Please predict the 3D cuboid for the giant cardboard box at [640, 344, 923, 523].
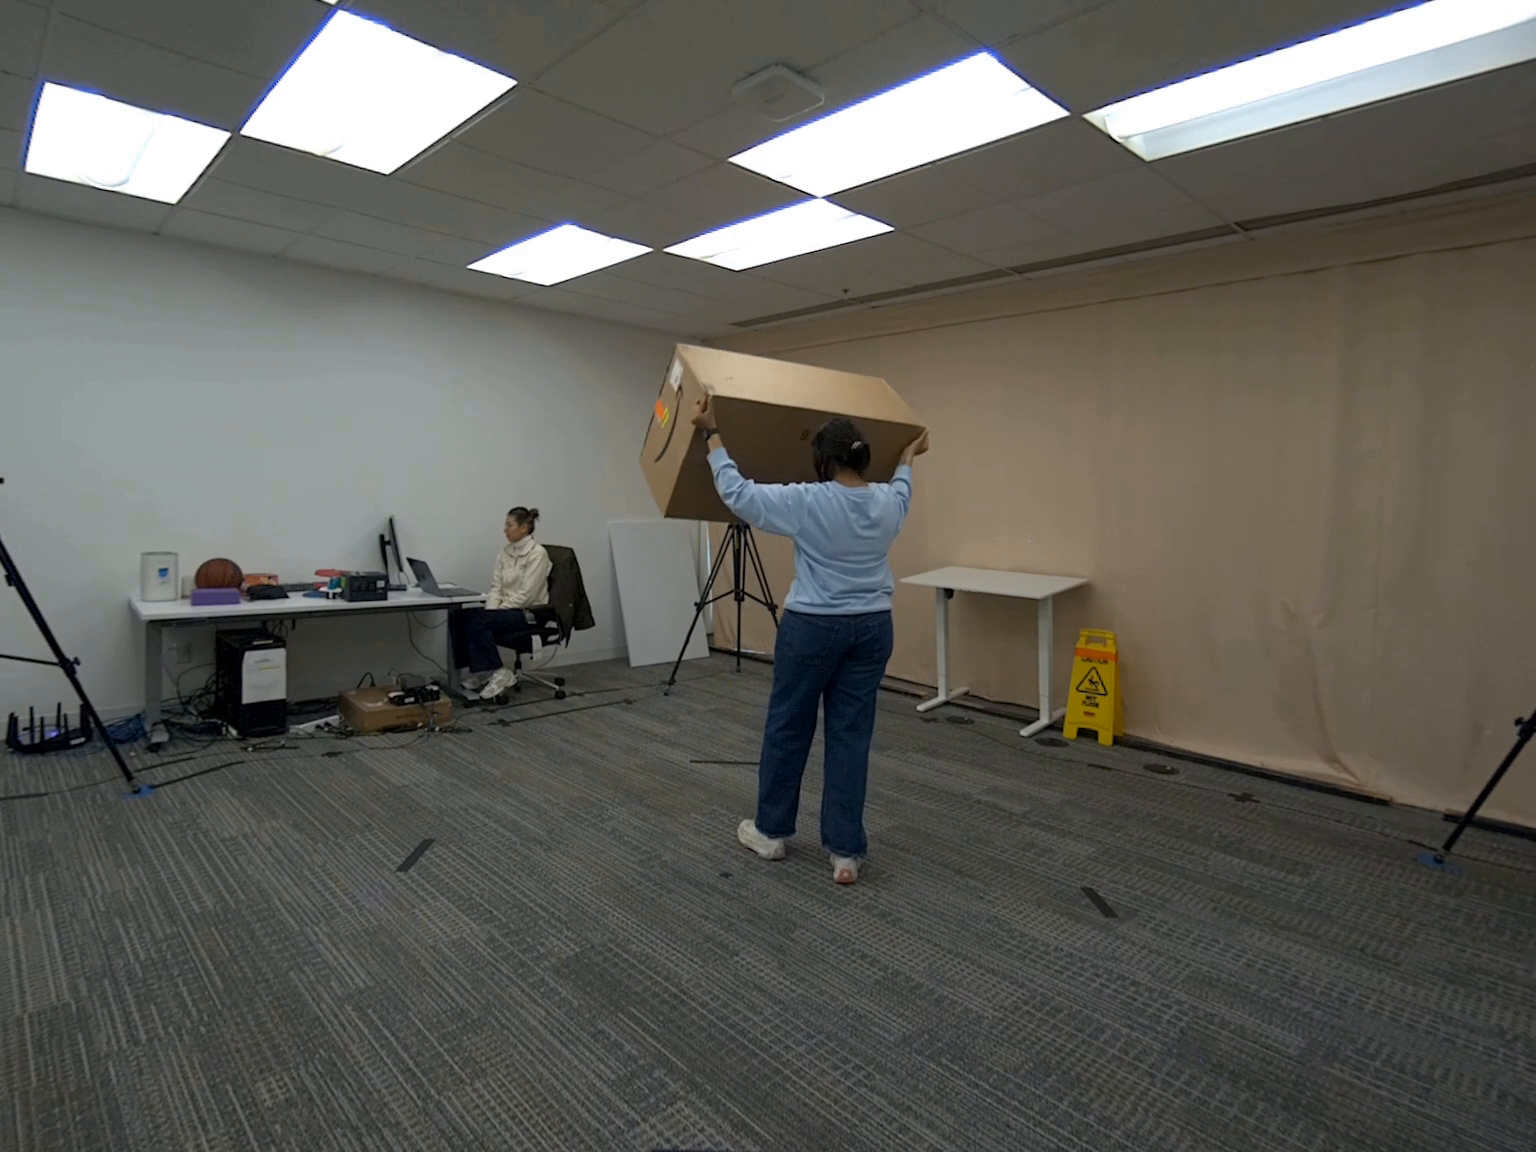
[{"bbox_3d":[0.042,-0.552,3.596,1.005,0.571,0.439,3,37,-27],"label":"giant cardboard box"}]
